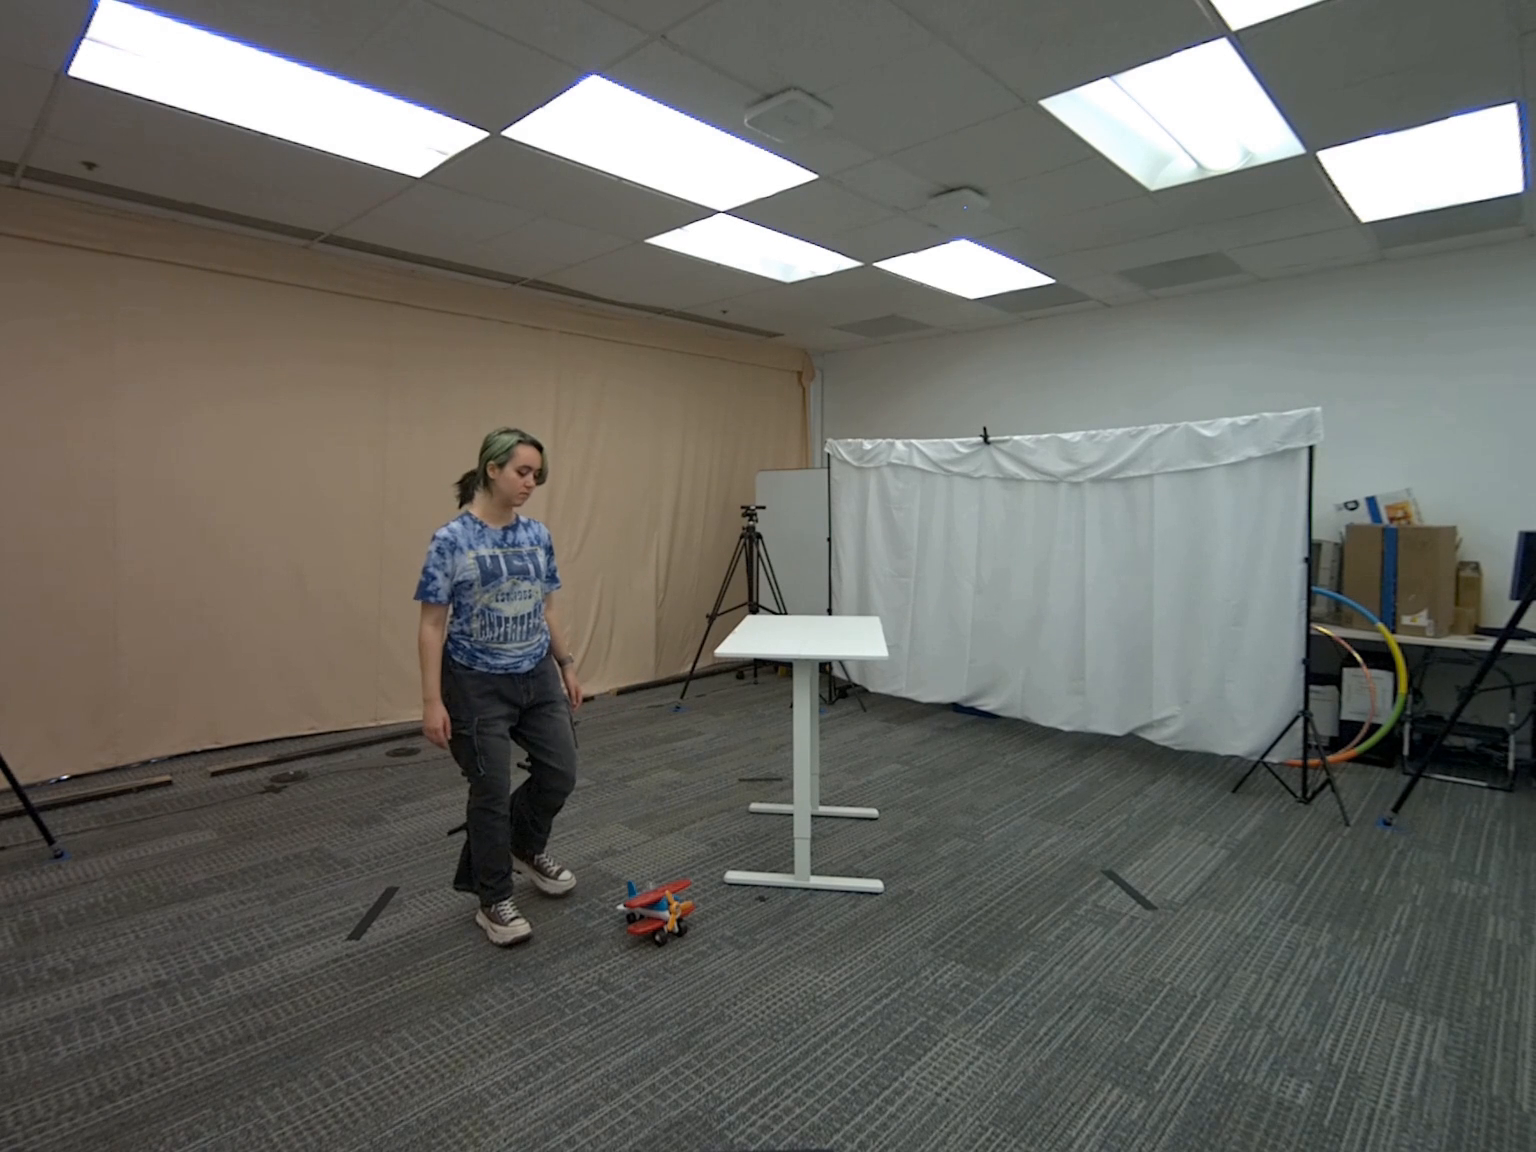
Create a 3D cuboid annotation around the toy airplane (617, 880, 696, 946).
[{"bbox_3d":[-0.391,1.095,2.739,0.264,0.156,0.247,3,5,17],"label":"toy airplane"}]
